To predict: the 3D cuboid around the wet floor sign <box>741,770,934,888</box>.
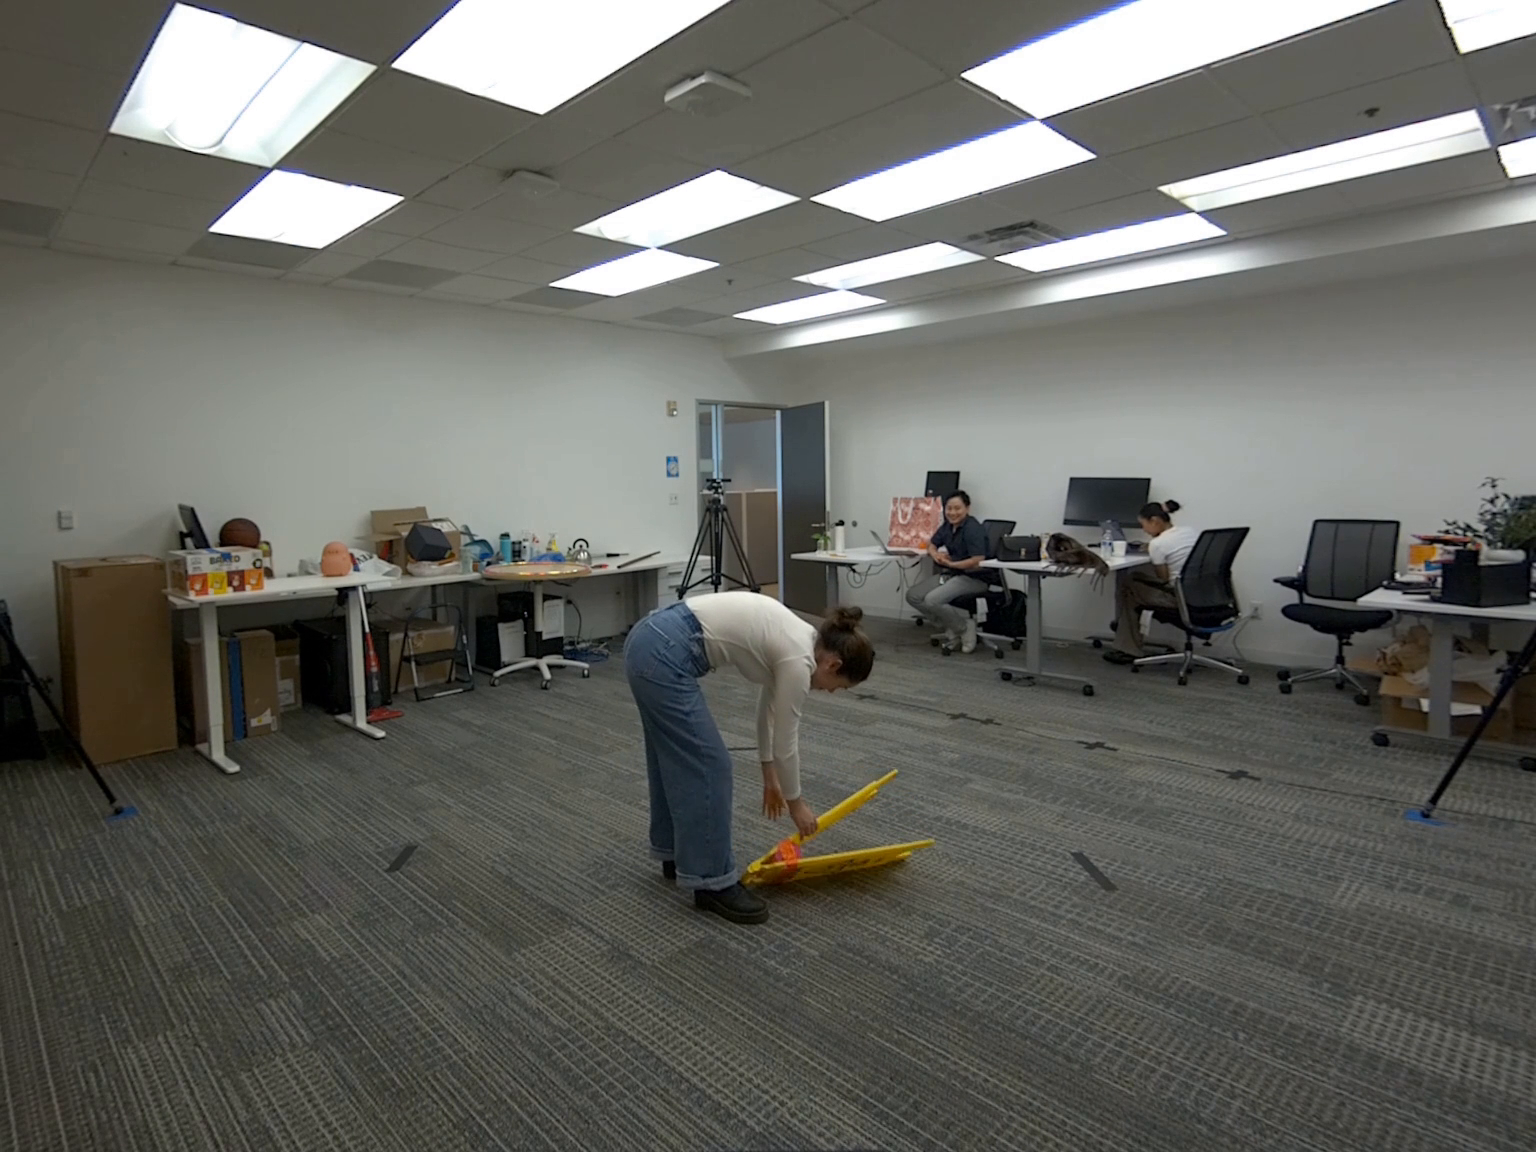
[{"bbox_3d":[0.192,0.930,2.955,0.635,0.299,0.278,-12,-31,-24],"label":"wet floor sign"}]
